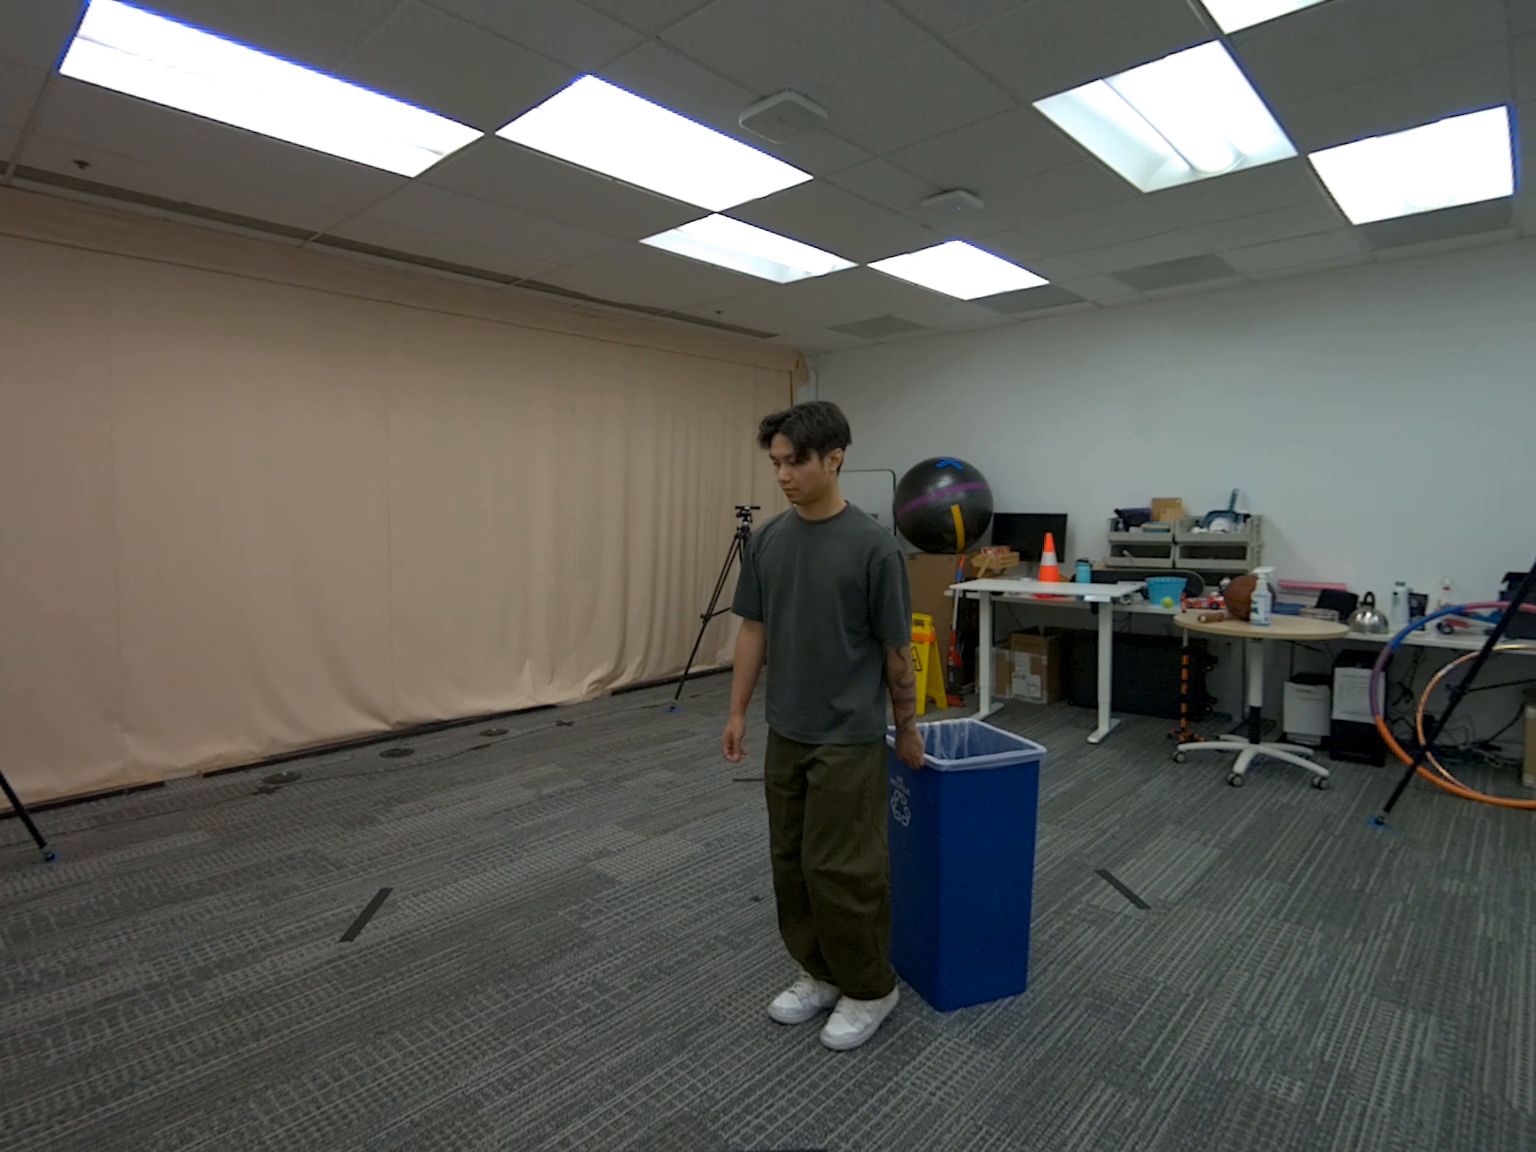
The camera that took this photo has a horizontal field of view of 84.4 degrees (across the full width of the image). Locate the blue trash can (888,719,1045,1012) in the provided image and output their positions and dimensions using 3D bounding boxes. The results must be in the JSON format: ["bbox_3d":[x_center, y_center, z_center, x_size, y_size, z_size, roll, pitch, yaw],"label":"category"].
[{"bbox_3d":[0.559,0.829,2.472,0.370,0.712,0.383,-2,4,-22],"label":"blue trash can"}]
